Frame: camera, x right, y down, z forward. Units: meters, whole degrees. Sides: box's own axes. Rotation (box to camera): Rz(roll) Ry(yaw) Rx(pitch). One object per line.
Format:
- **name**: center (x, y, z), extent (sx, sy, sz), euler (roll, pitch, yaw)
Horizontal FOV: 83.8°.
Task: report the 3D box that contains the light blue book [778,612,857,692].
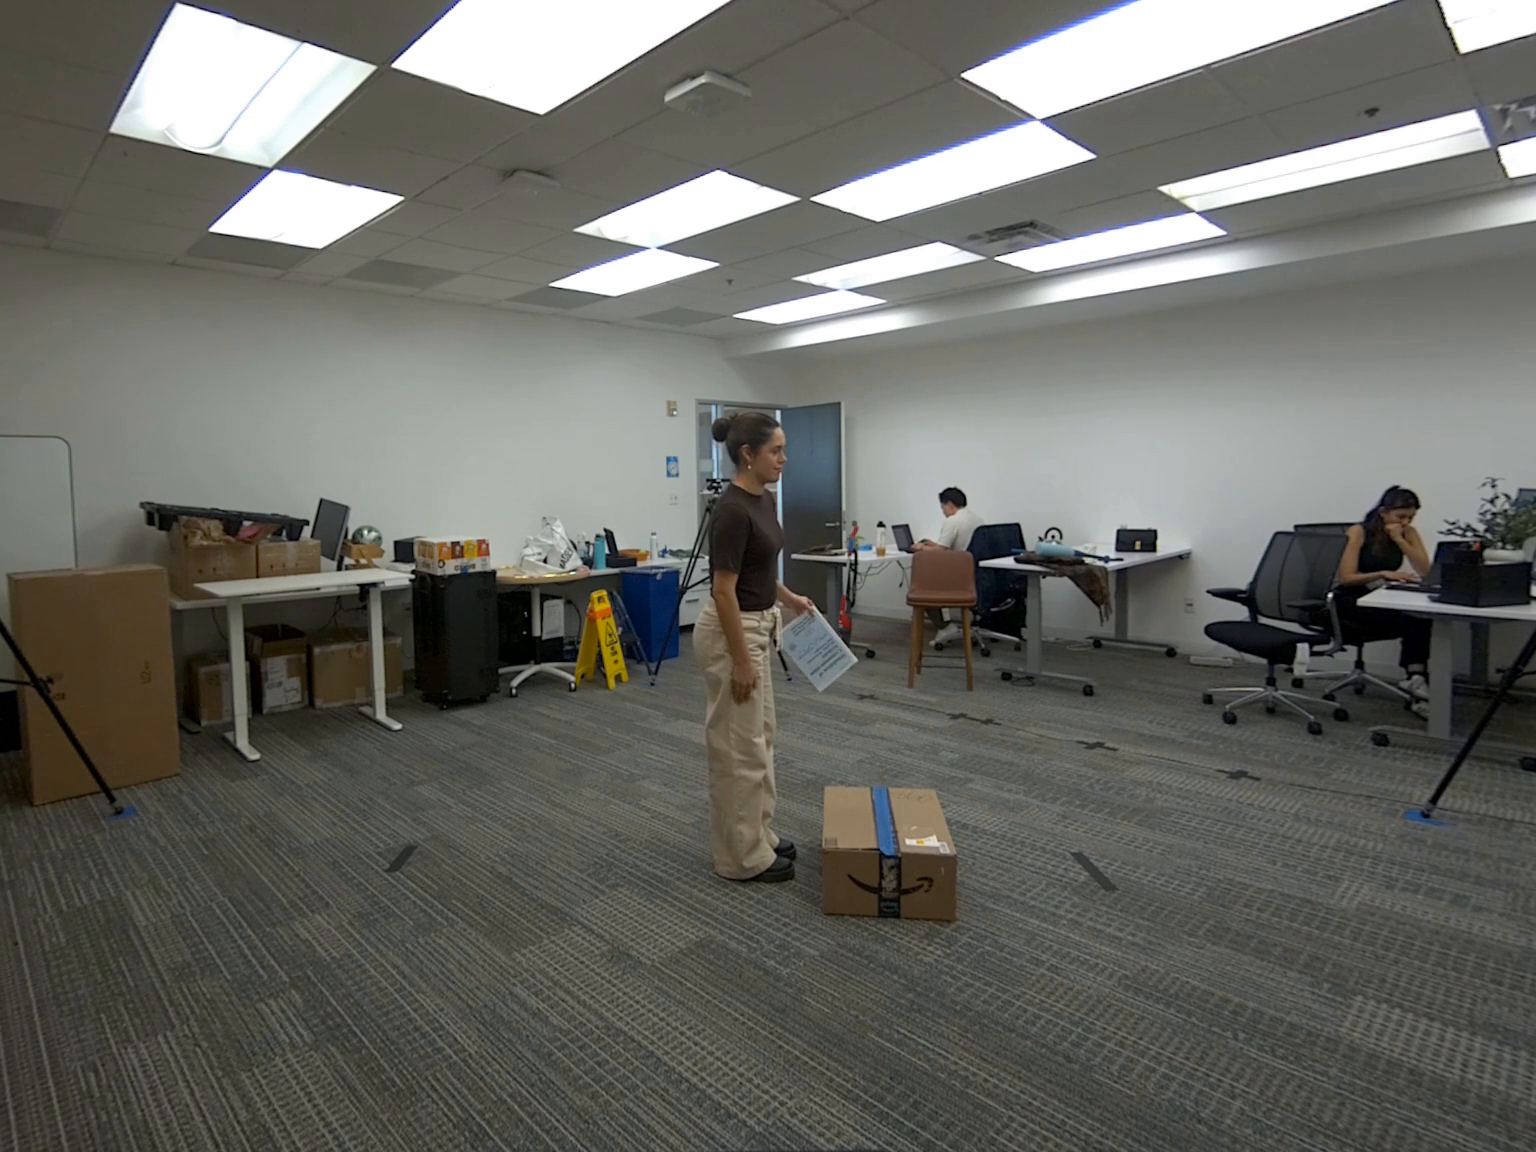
- **light blue book**: center (0.181, 0.272, 3.199), extent (0.191, 0.262, 0.059), euler (-39, -4, 1)
